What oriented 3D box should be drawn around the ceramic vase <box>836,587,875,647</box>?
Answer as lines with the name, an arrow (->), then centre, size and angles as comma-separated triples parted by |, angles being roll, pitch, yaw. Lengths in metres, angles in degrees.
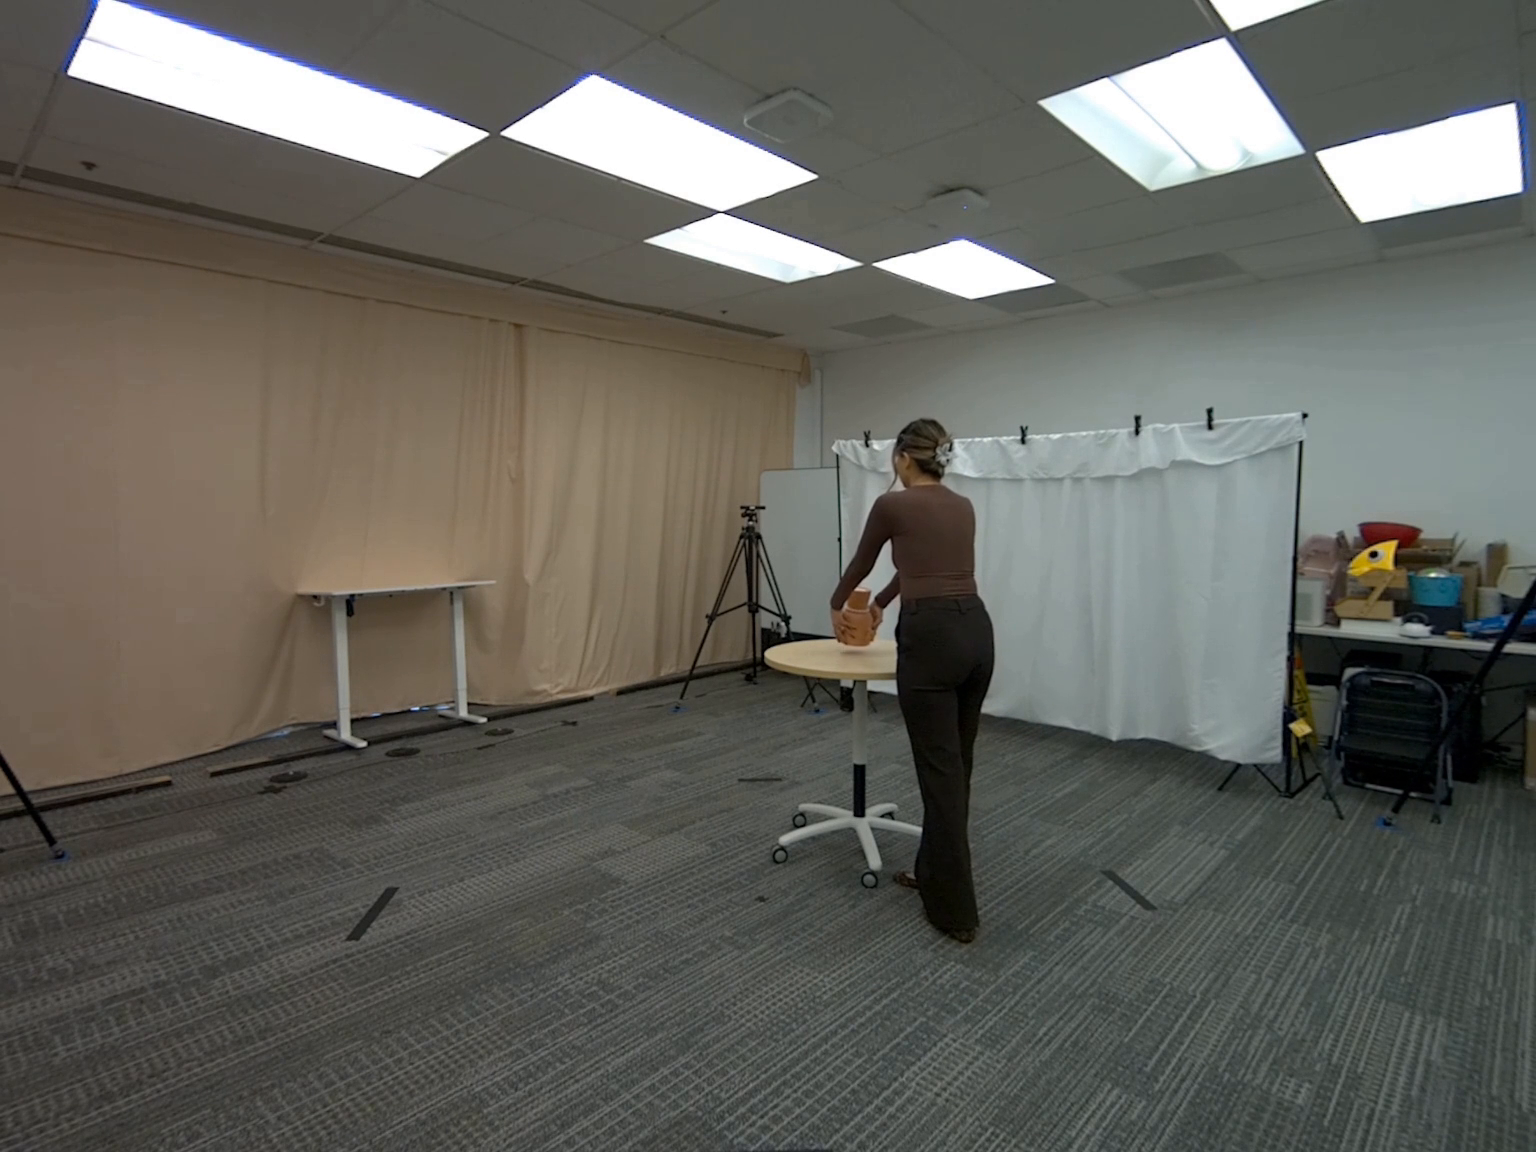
ceramic vase -> 0.367, 0.159, 3.380 | 0.161, 0.219, 0.134 | 7, 8, 9
